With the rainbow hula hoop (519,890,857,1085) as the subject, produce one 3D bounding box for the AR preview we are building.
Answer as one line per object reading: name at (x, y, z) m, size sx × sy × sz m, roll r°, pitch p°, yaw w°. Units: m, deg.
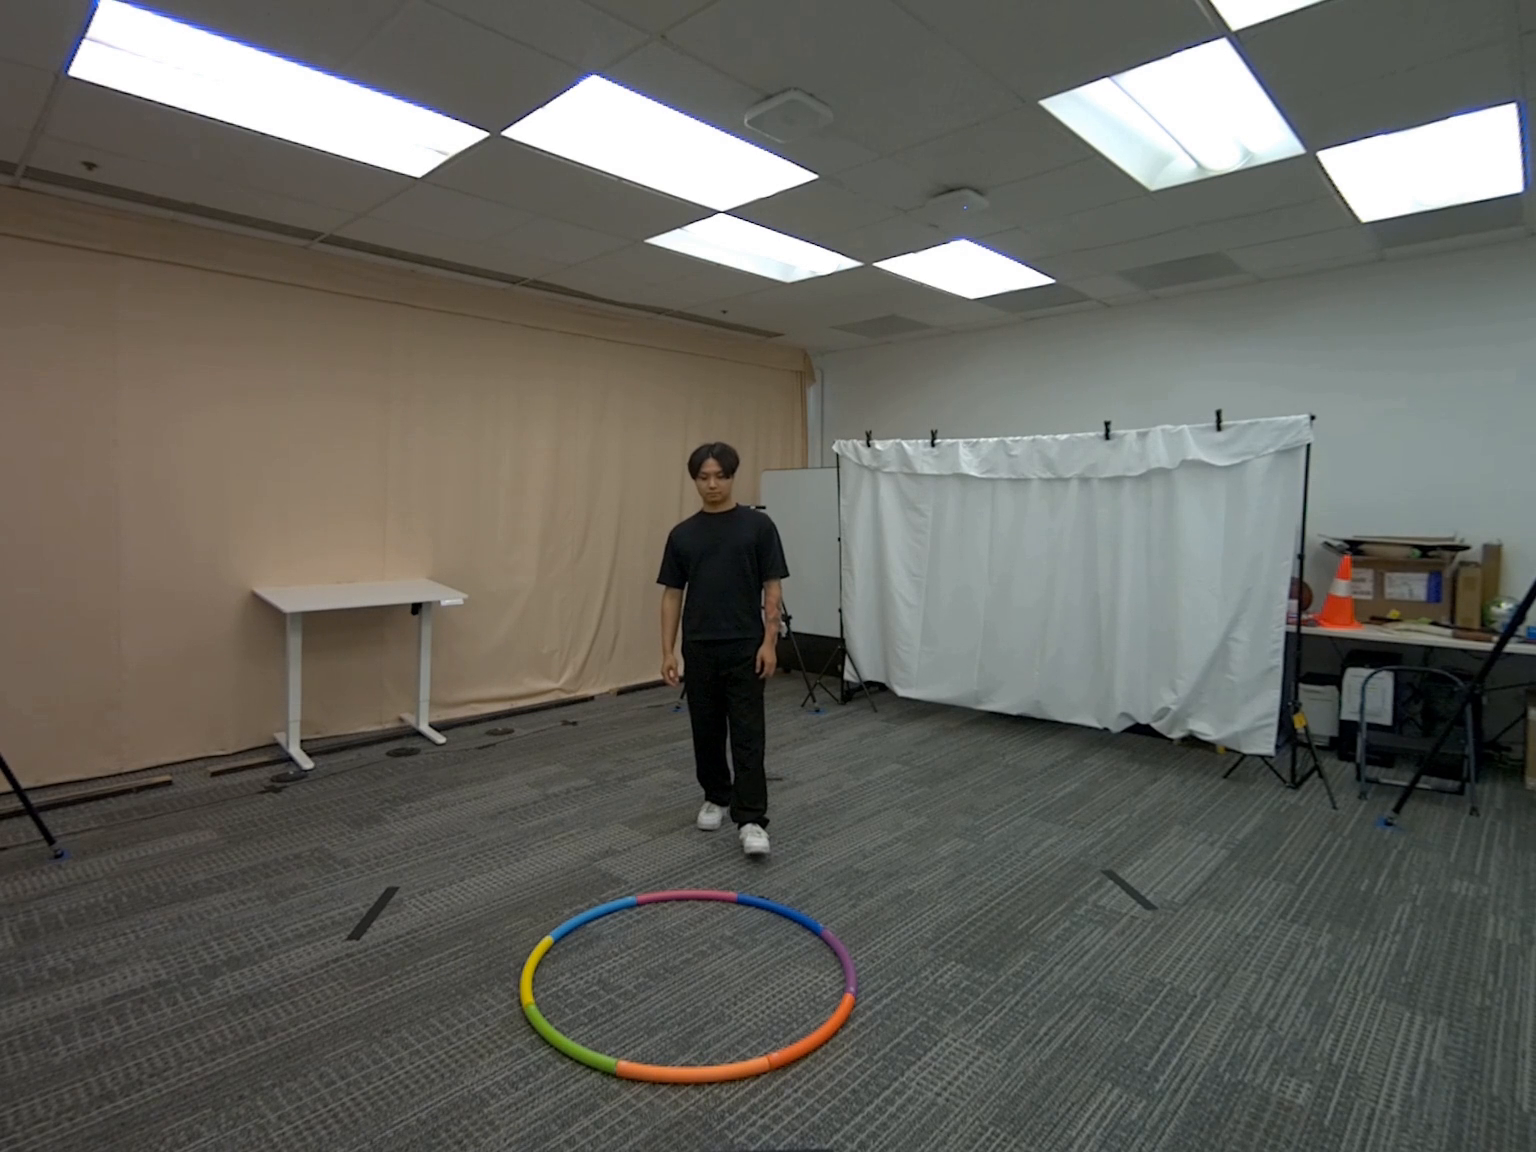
rainbow hula hoop at (-0.232, 1.154, 2.514) m, size 0.978 × 0.035 × 0.982 m, roll 0°, pitch 4°, yaw -2°
